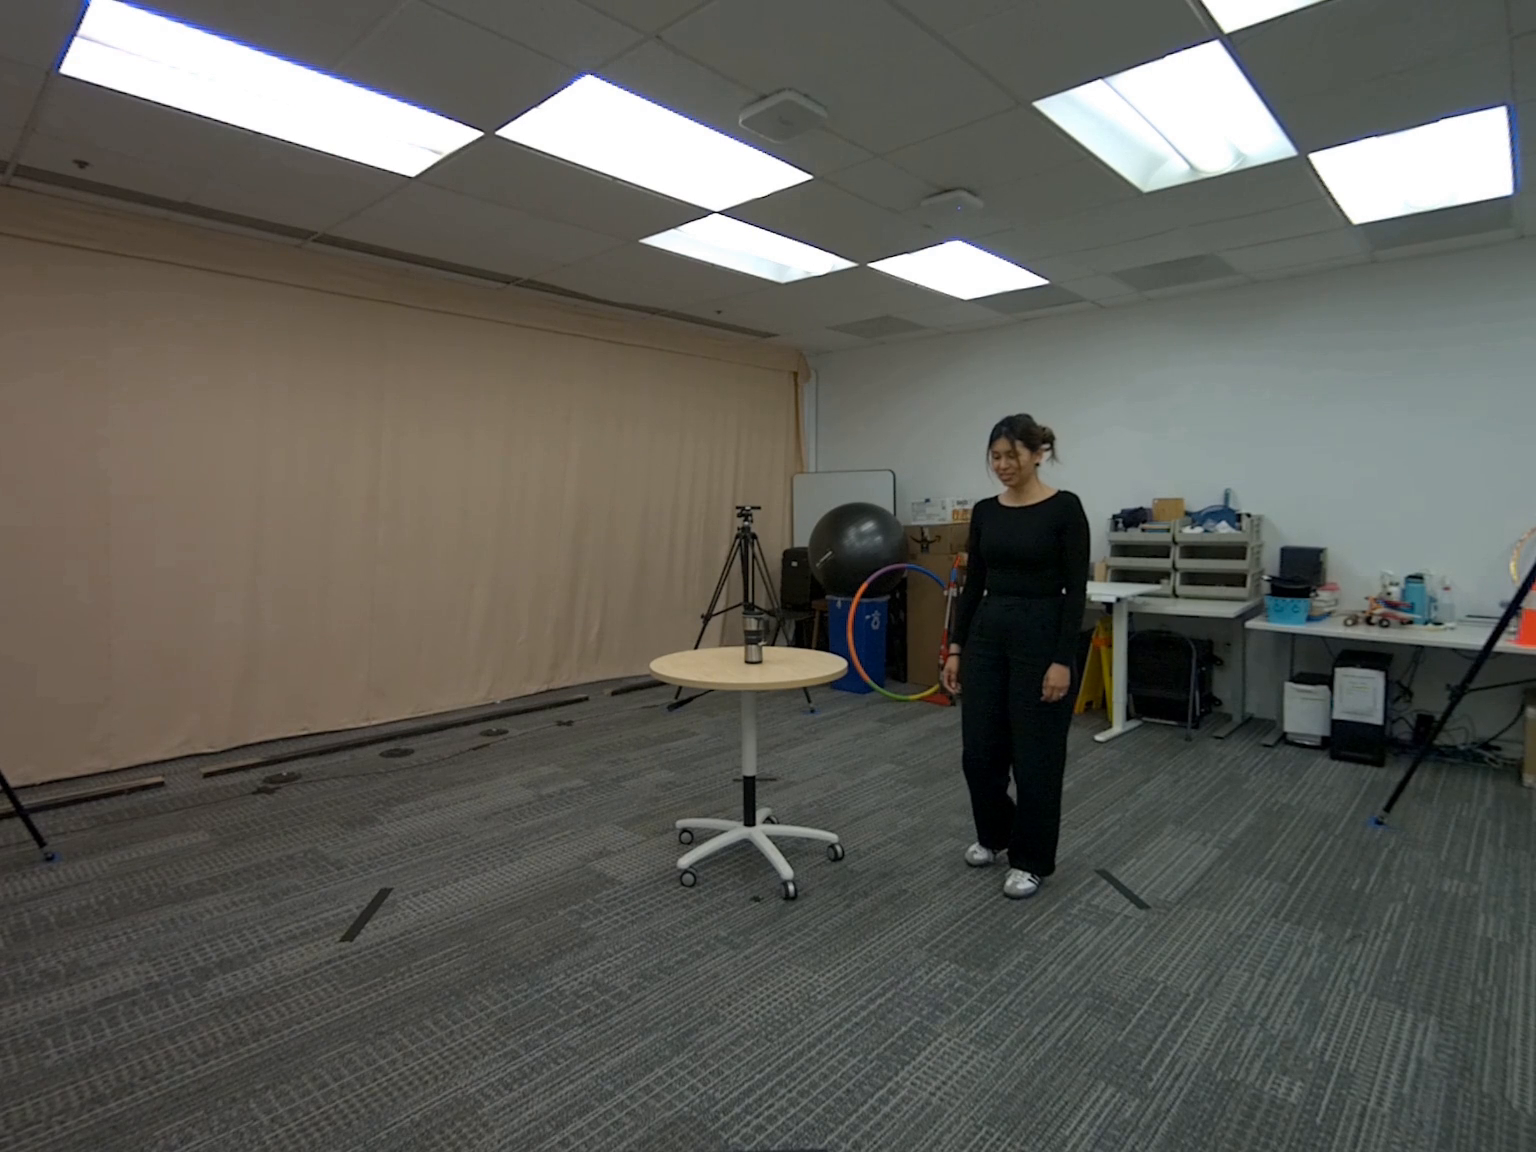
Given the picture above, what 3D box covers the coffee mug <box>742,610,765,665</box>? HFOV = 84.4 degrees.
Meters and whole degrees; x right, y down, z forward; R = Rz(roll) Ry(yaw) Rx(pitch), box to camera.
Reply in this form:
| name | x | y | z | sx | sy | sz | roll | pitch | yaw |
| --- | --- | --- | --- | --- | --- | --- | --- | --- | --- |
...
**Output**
| name | x | y | z | sx | sy | sz | roll | pitch | yaw |
| --- | --- | --- | --- | --- | --- | --- | --- | --- | --- |
| coffee mug | -0.063 | 0.241 | 3.261 | 0.118 | 0.202 | 0.091 | 3 | 5 | -37 |
